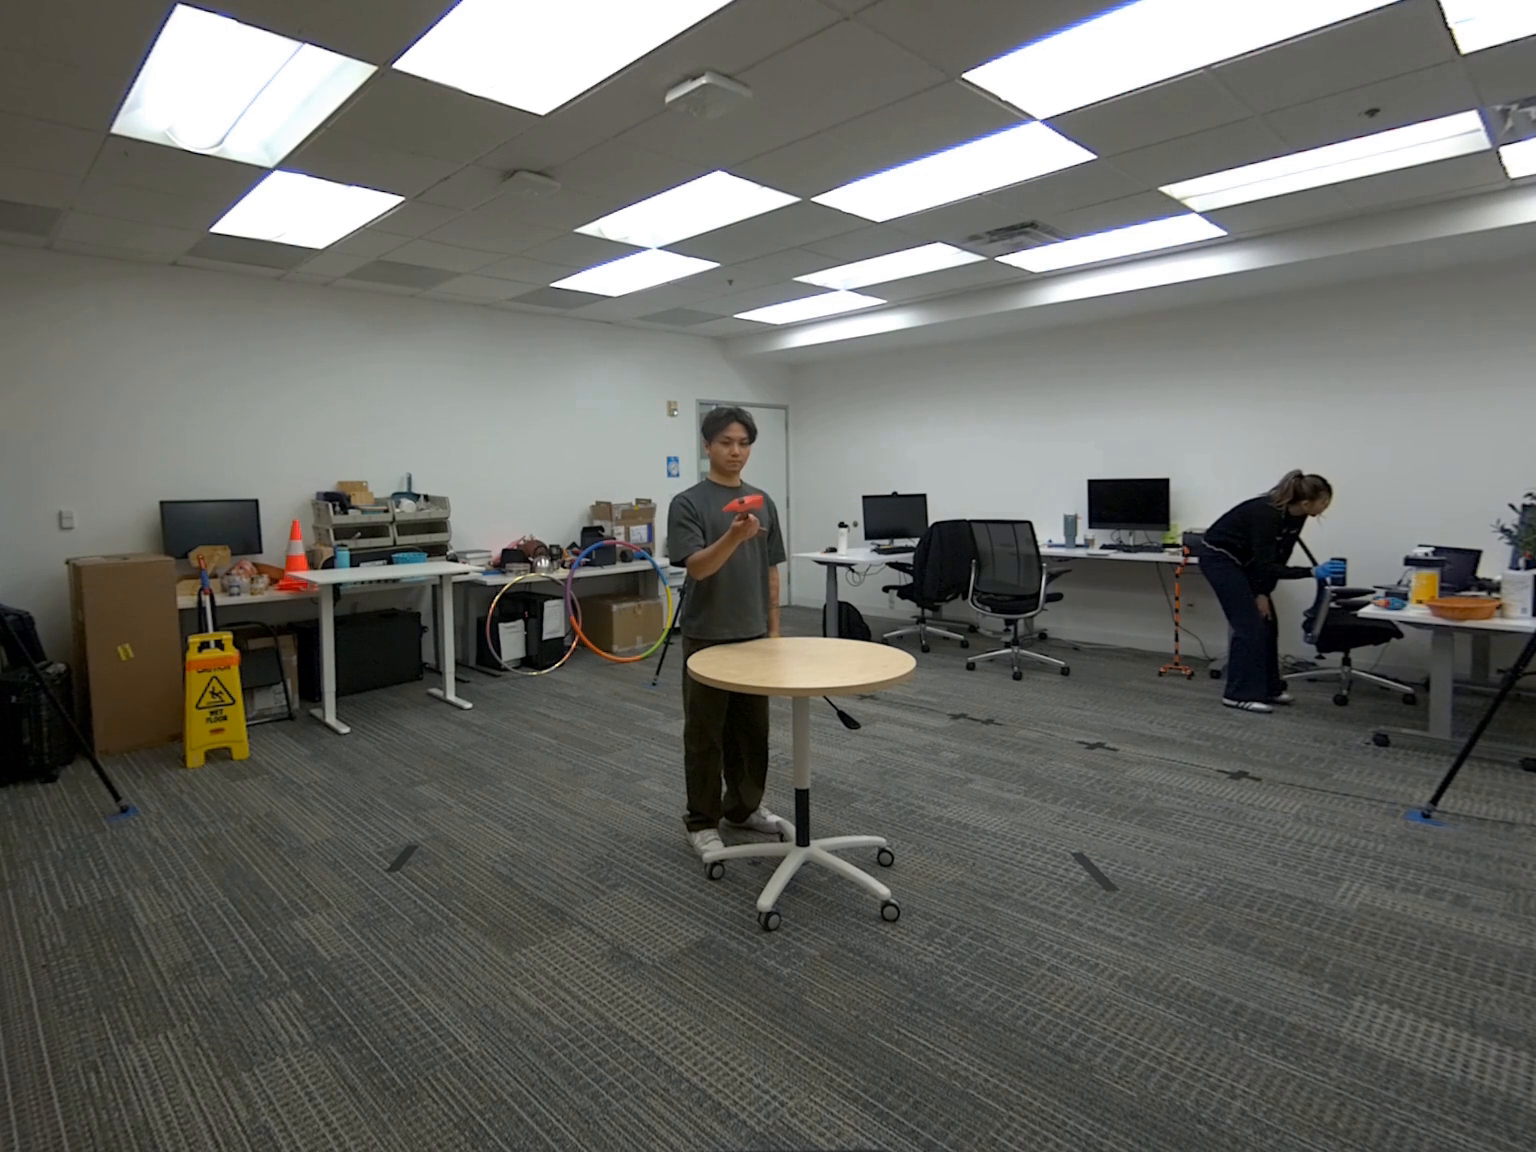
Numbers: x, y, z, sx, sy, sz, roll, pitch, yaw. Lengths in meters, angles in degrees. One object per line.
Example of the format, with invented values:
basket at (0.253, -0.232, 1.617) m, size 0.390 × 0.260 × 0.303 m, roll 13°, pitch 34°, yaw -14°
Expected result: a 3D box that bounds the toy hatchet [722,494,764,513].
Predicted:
toy hatchet at (-0.045, -0.207, 2.845) m, size 0.132 × 0.030 × 0.261 m, roll -25°, pitch -24°, yaw 16°
